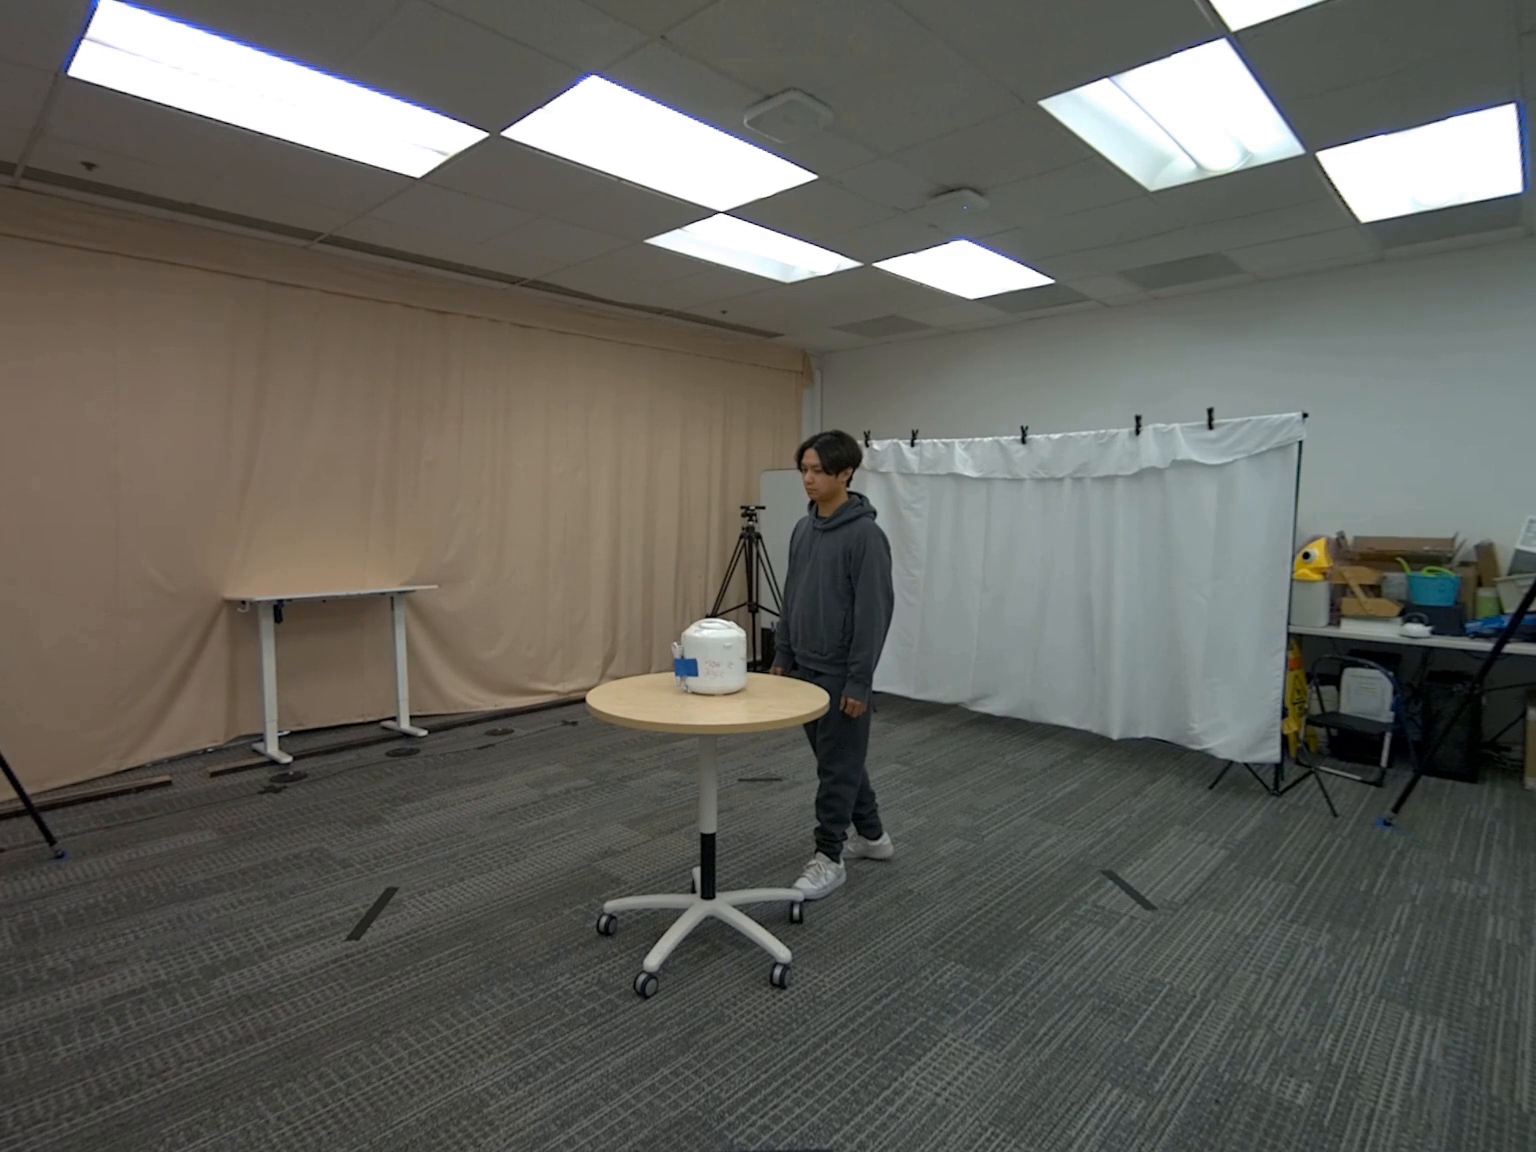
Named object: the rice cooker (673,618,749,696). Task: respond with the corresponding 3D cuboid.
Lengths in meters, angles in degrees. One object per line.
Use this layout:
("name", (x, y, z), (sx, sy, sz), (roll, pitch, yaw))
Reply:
("rice cooker", (-0.172, 0.255, 2.722), (0.226, 0.232, 0.212), (1, 4, 26))
